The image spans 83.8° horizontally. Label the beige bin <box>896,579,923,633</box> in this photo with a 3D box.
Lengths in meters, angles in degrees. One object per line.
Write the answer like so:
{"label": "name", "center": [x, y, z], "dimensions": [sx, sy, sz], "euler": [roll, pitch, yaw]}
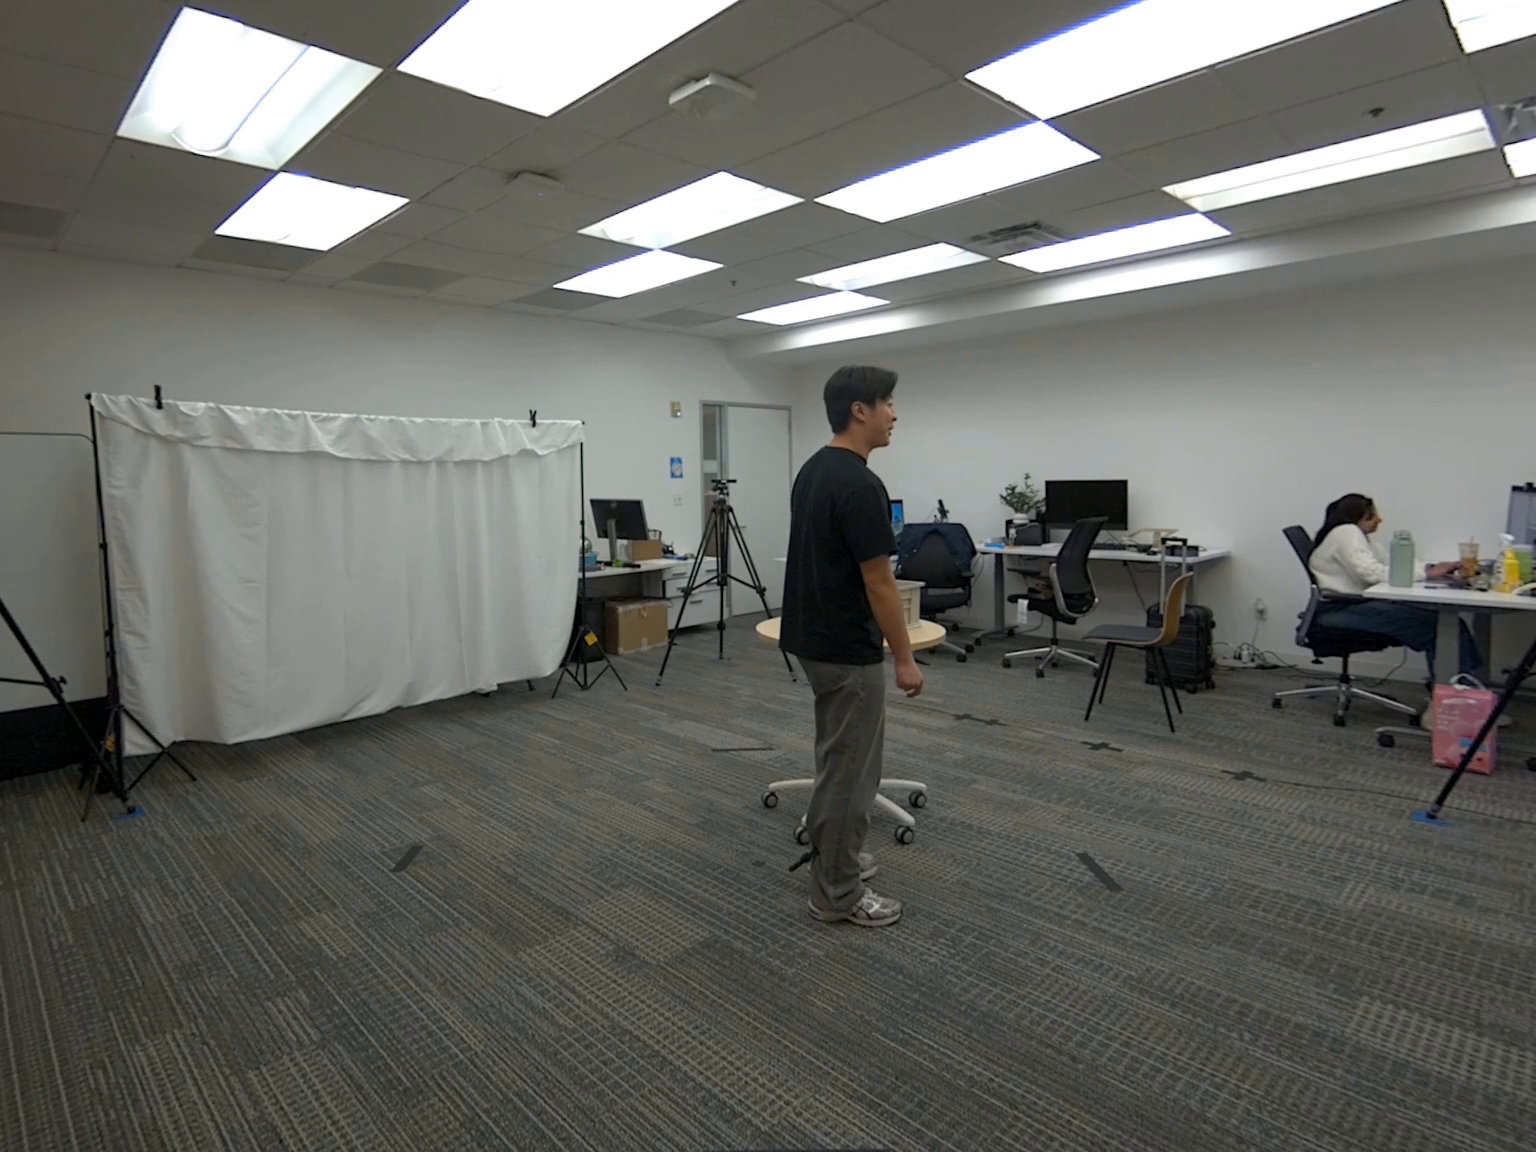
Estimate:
{"label": "beige bin", "center": [0.368, 0.120, 3.532], "dimensions": [0.435, 0.188, 0.367], "euler": [5, 8, 43]}
